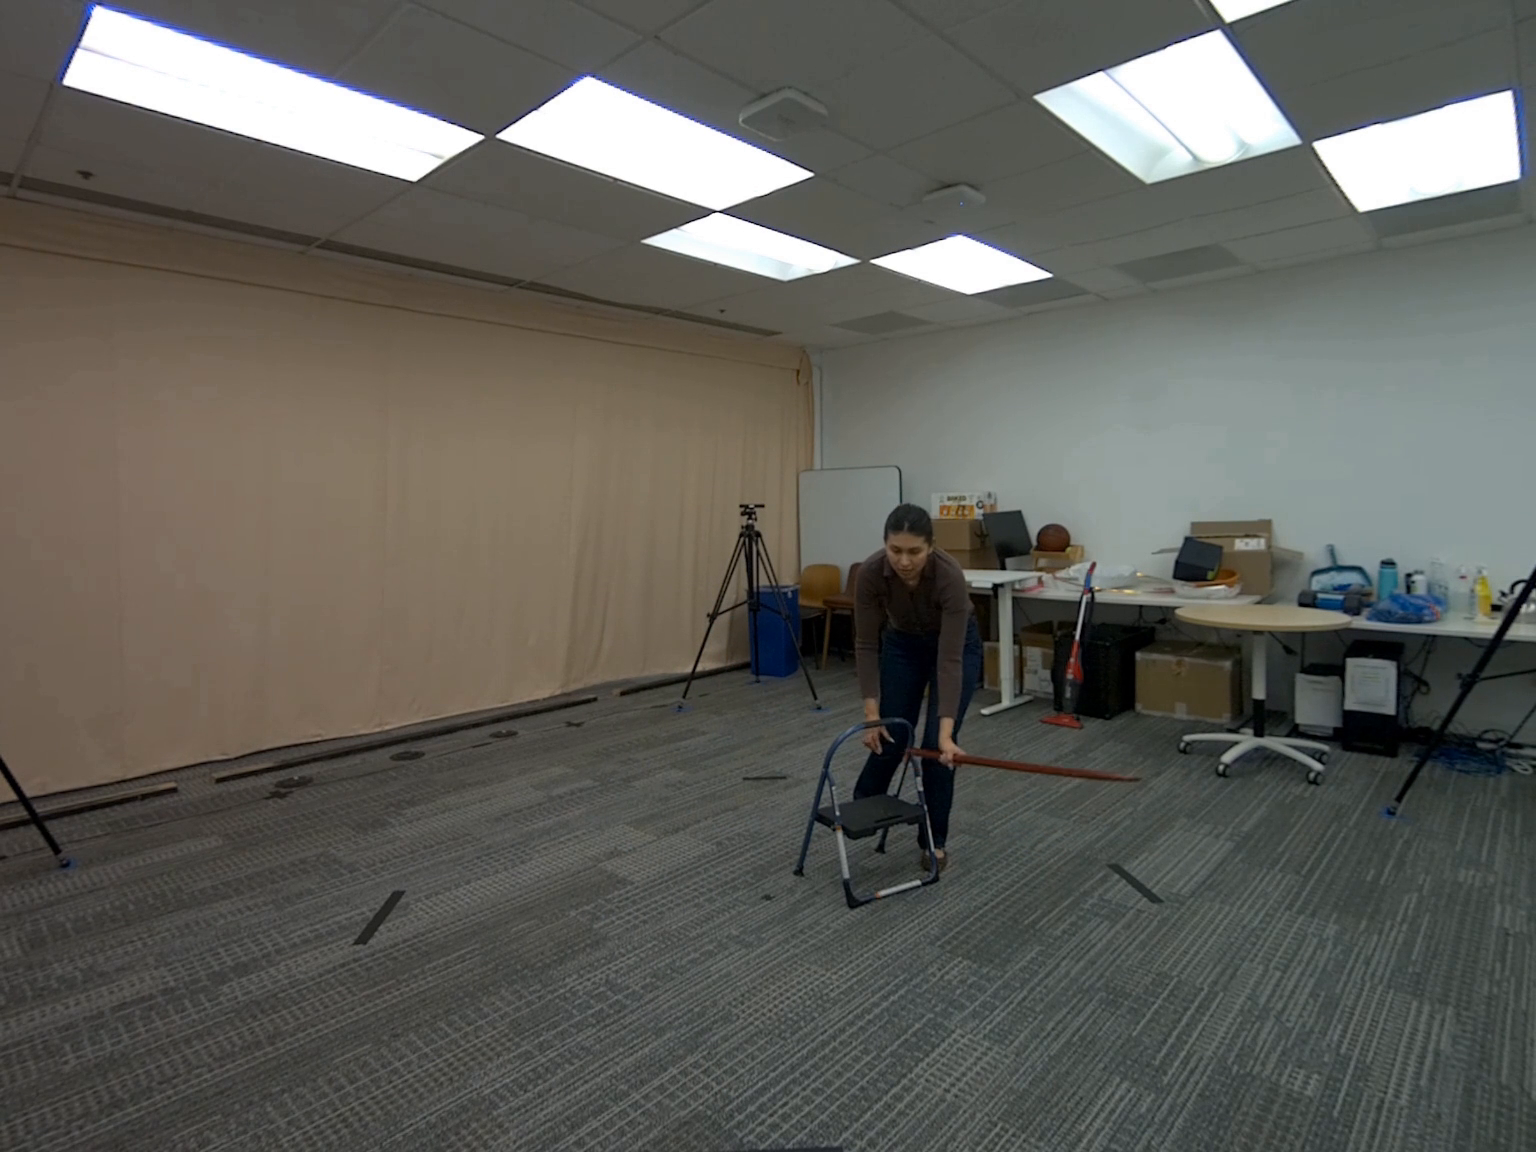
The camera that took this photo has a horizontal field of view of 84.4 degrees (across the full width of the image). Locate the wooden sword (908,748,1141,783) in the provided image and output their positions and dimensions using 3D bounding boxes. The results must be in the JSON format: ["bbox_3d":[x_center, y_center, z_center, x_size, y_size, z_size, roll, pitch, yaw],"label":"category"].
[{"bbox_3d":[0.732,0.589,2.641,0.023,0.051,1.047,27,-17,-23],"label":"wooden sword"}]
